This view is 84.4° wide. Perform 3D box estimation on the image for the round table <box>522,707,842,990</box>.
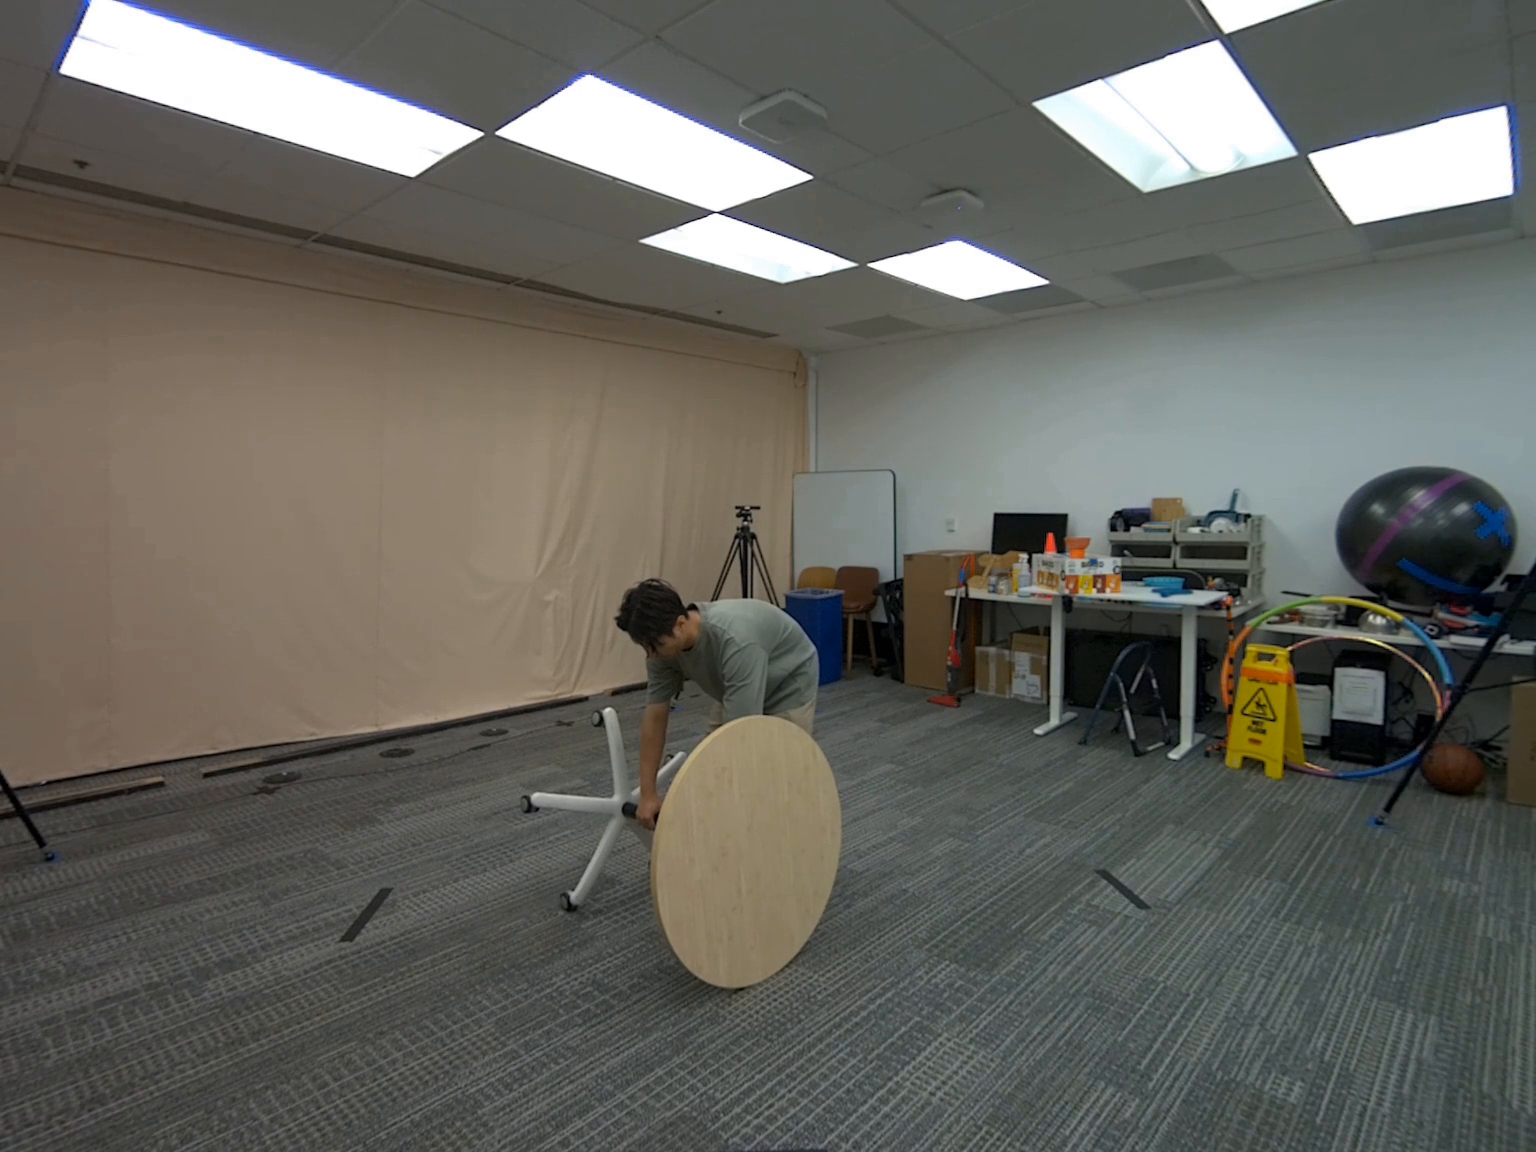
[{"bbox_3d":[-0.315,0.818,2.775,0.761,0.785,0.810,-4,-1,-45],"label":"round table"}]
